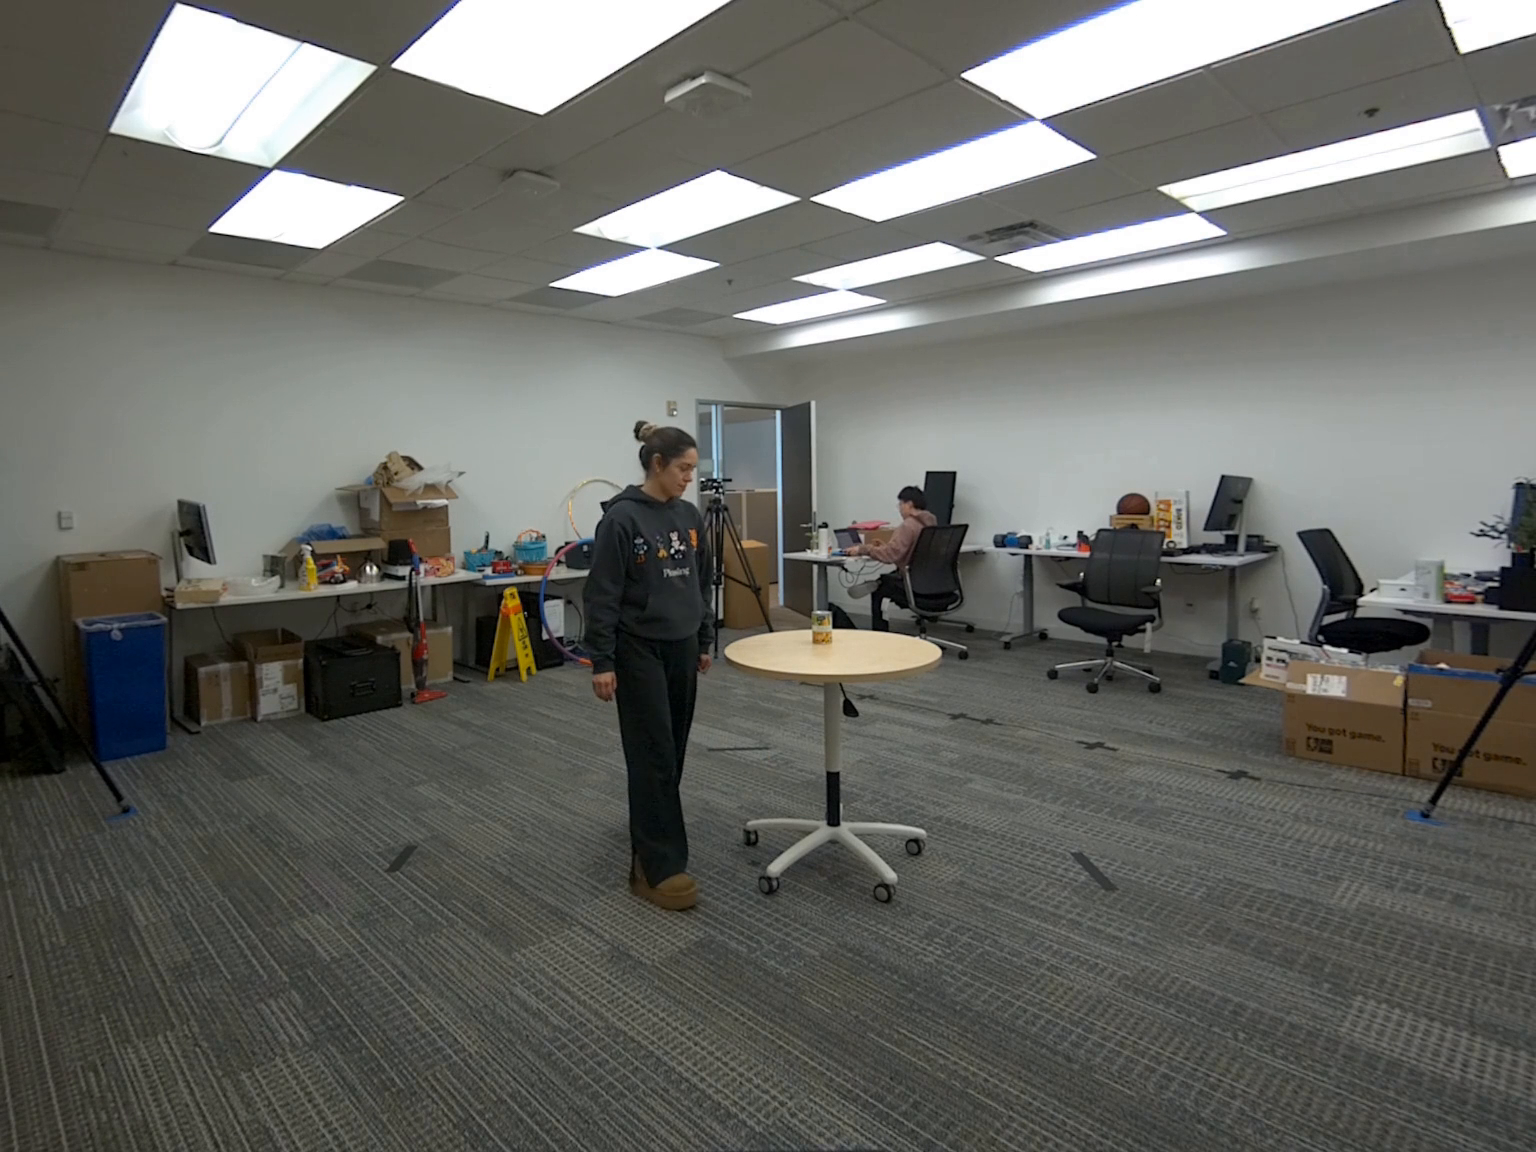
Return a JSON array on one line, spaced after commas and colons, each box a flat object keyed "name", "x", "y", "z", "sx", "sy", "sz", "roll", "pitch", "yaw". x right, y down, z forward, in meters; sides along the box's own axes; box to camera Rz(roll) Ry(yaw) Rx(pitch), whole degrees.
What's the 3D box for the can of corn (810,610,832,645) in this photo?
[{"name": "can of corn", "x": 0.201, "y": 0.191, "z": 3.163, "sx": 0.074, "sy": 0.110, "sz": 0.075, "roll": 0, "pitch": 7, "yaw": -2}]
